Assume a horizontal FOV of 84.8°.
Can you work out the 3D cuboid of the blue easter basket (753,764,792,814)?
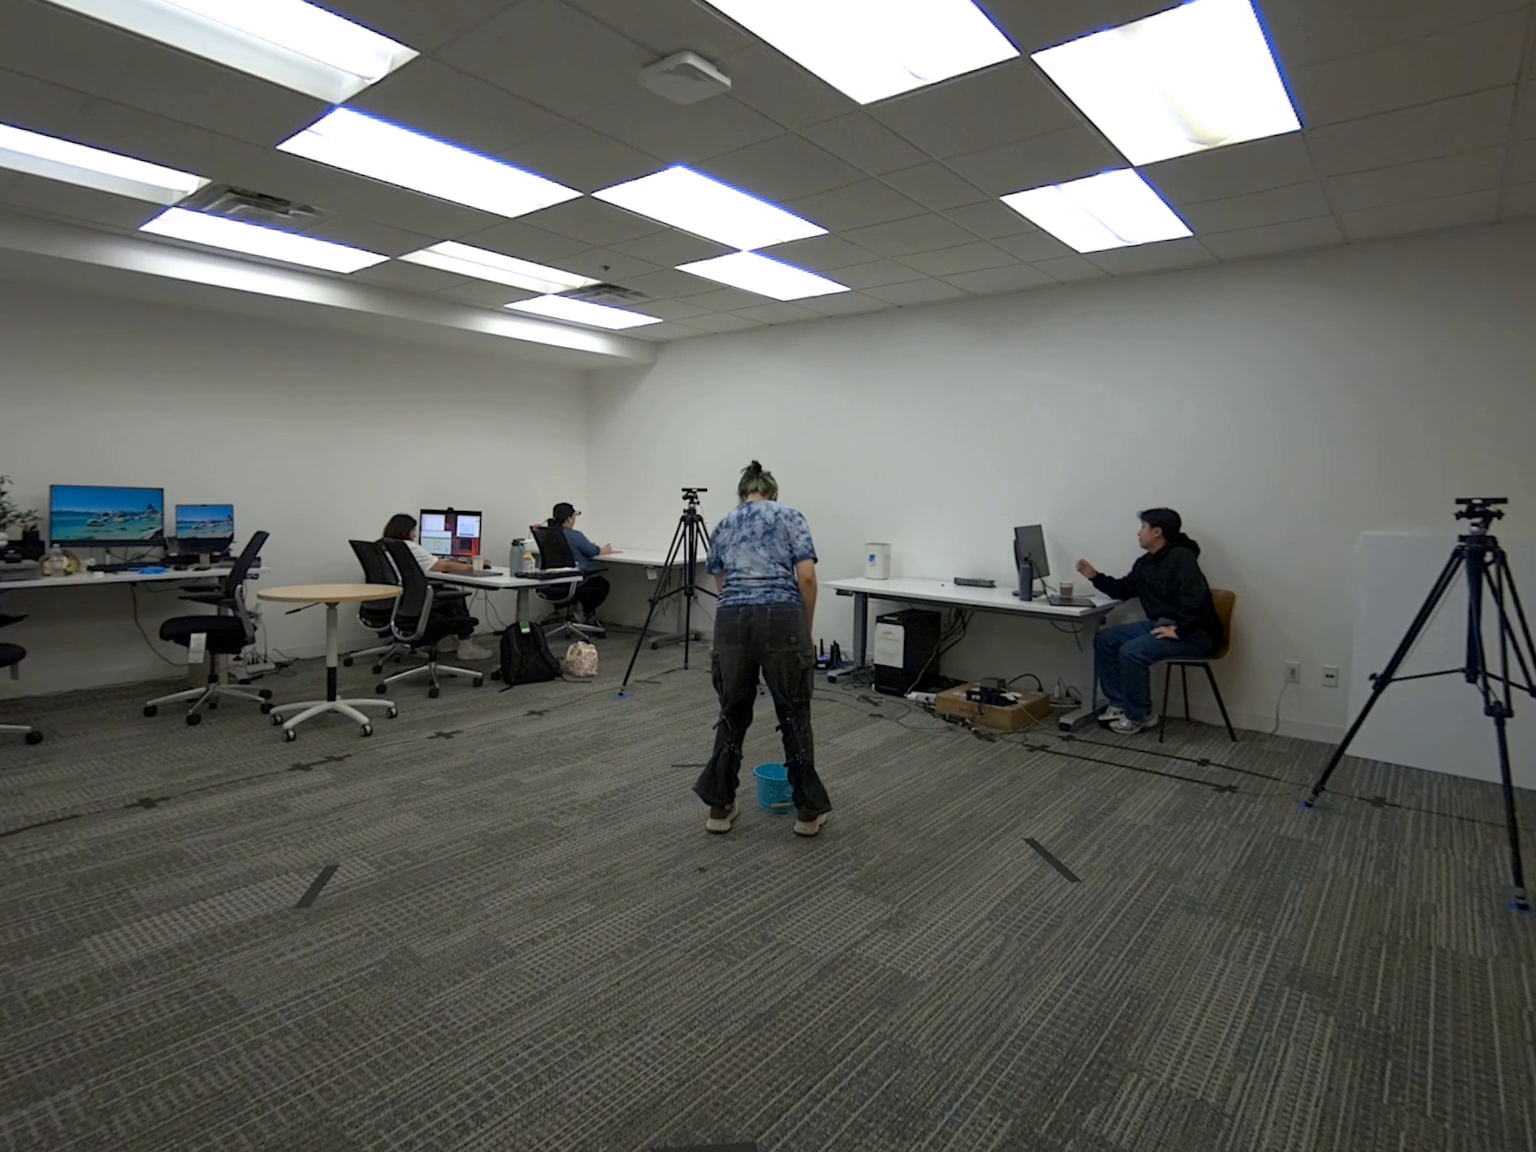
[{"bbox_3d":[0.034,0.935,3.766,0.243,0.155,0.245,1,4,-2],"label":"blue easter basket"}]
